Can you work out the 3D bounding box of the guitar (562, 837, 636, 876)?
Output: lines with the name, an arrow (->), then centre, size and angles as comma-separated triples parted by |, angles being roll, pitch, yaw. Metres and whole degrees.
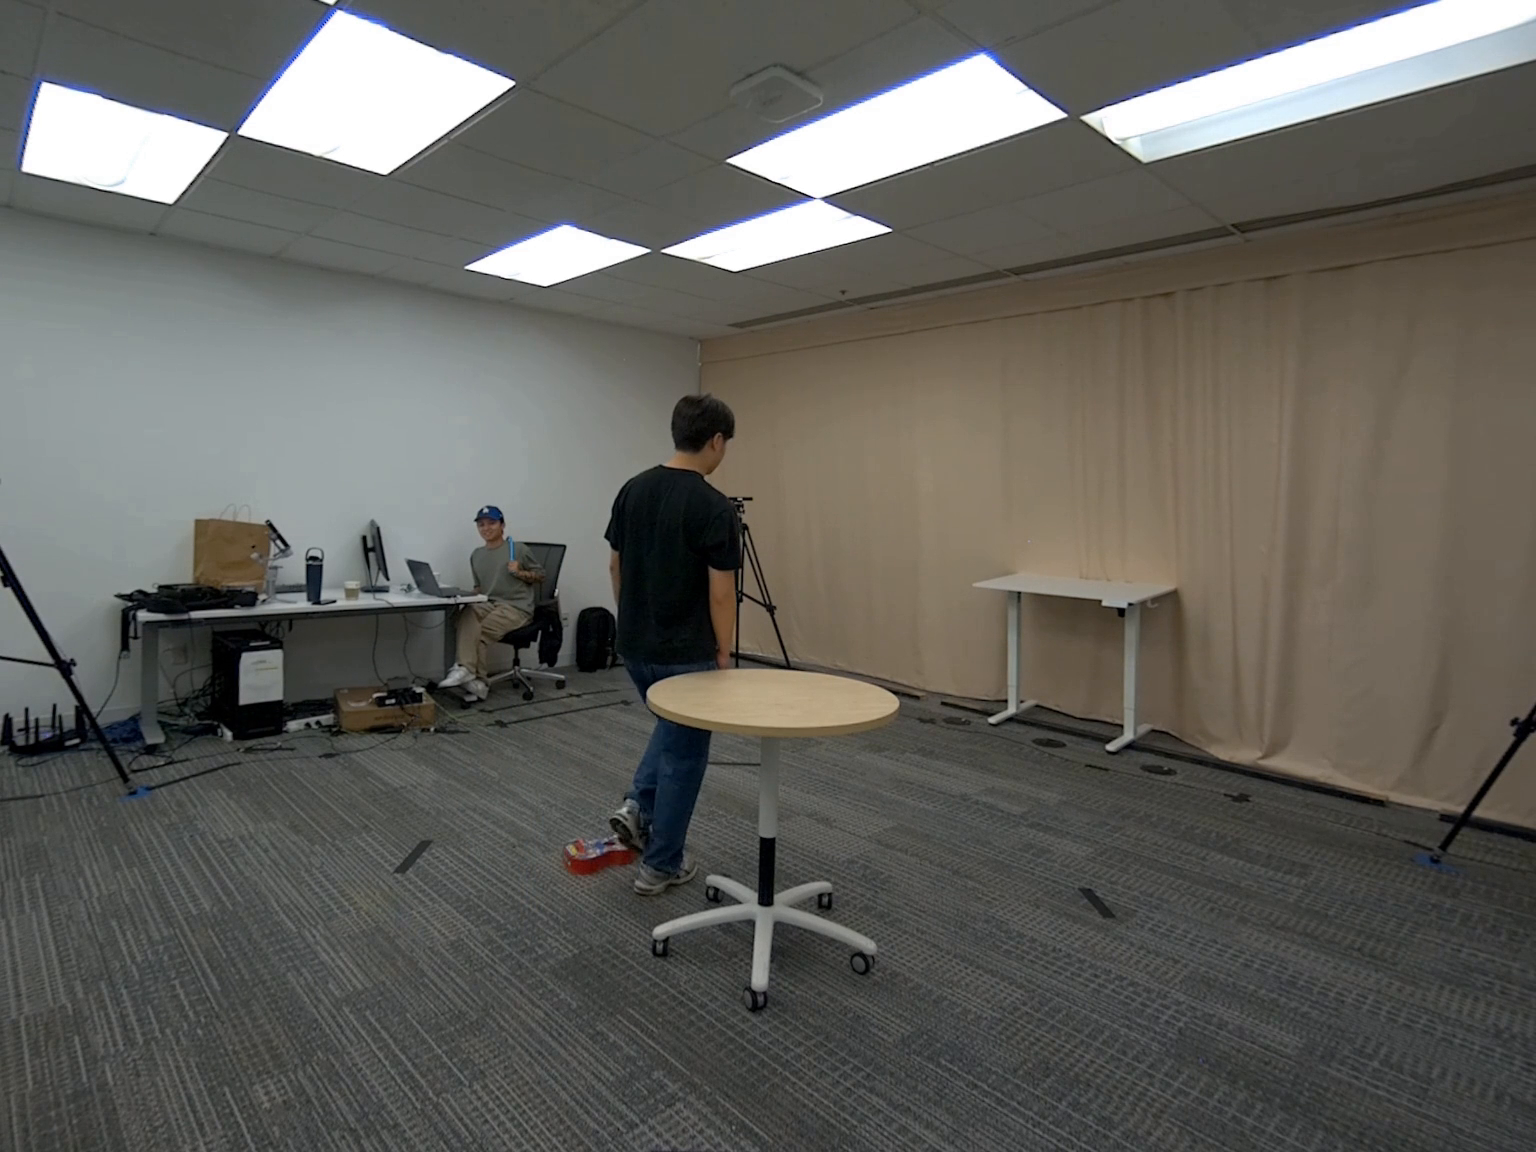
guitar -> -0.538, 1.052, 3.233 | 0.491, 0.070, 0.196 | -1, 5, -19
